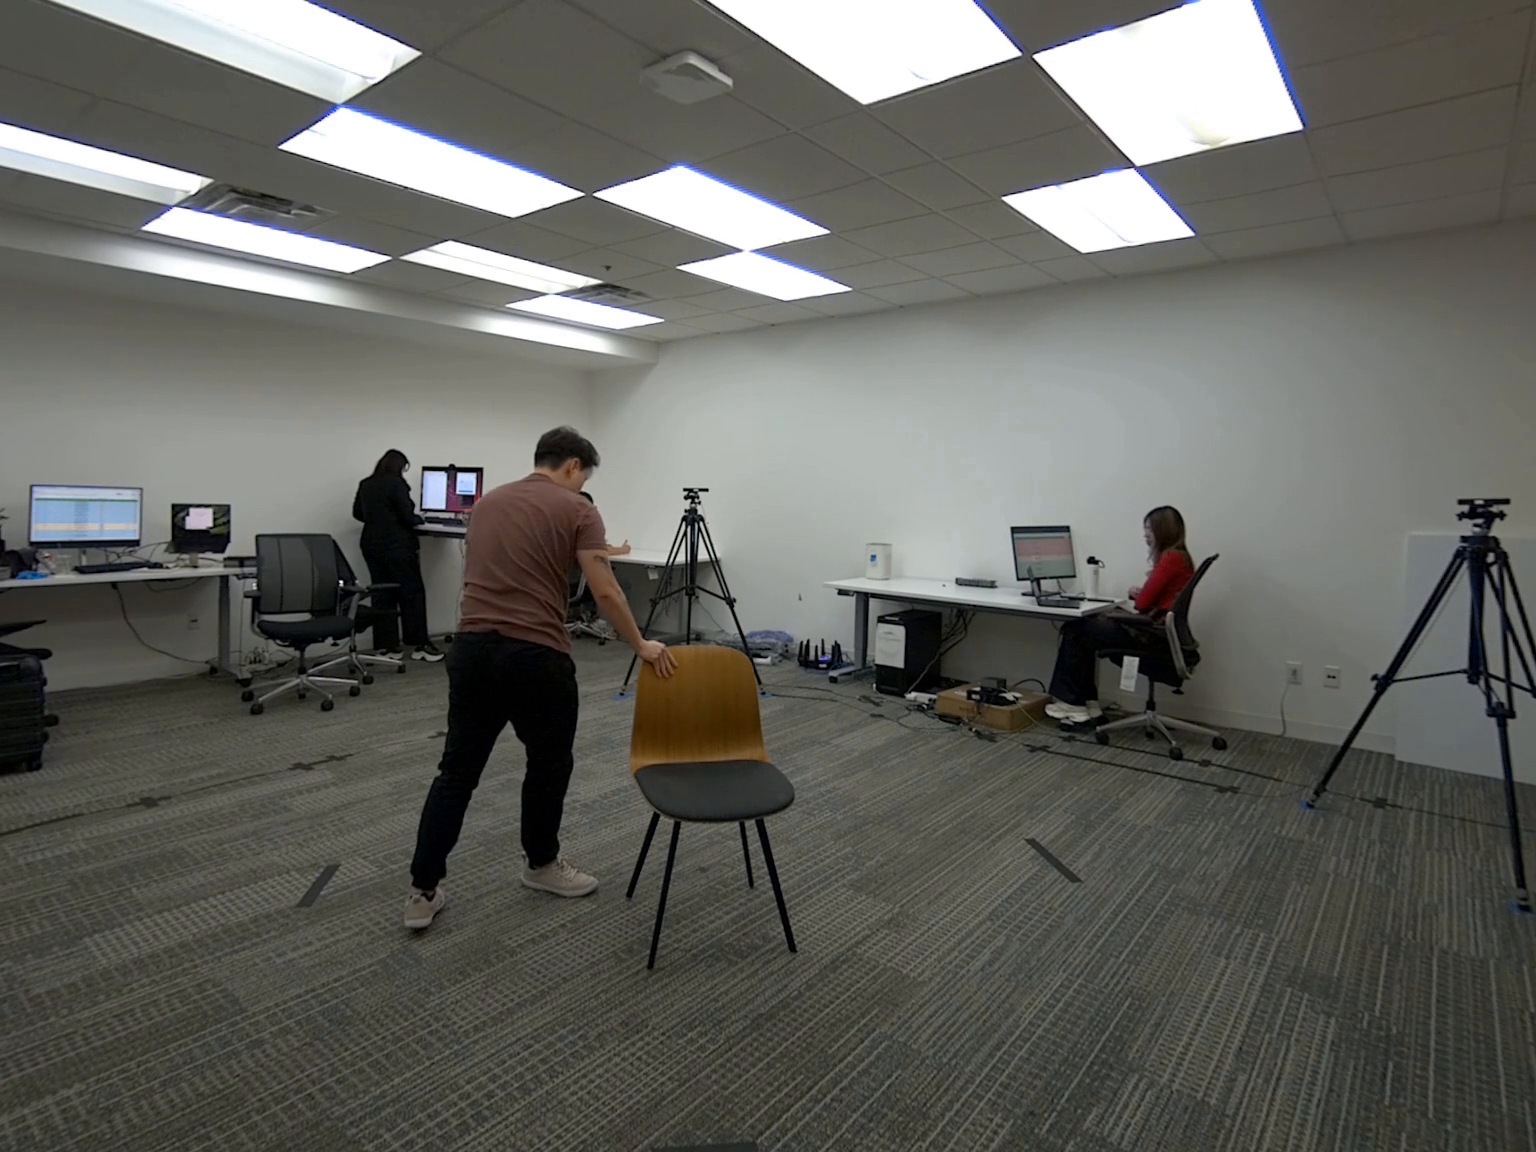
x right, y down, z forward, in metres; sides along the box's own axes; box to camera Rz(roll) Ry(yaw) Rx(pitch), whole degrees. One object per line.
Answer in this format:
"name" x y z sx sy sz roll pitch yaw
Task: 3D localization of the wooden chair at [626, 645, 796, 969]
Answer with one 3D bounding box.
"wooden chair" -0.190 0.687 2.680 0.470 0.879 0.531 1 -1 -16
